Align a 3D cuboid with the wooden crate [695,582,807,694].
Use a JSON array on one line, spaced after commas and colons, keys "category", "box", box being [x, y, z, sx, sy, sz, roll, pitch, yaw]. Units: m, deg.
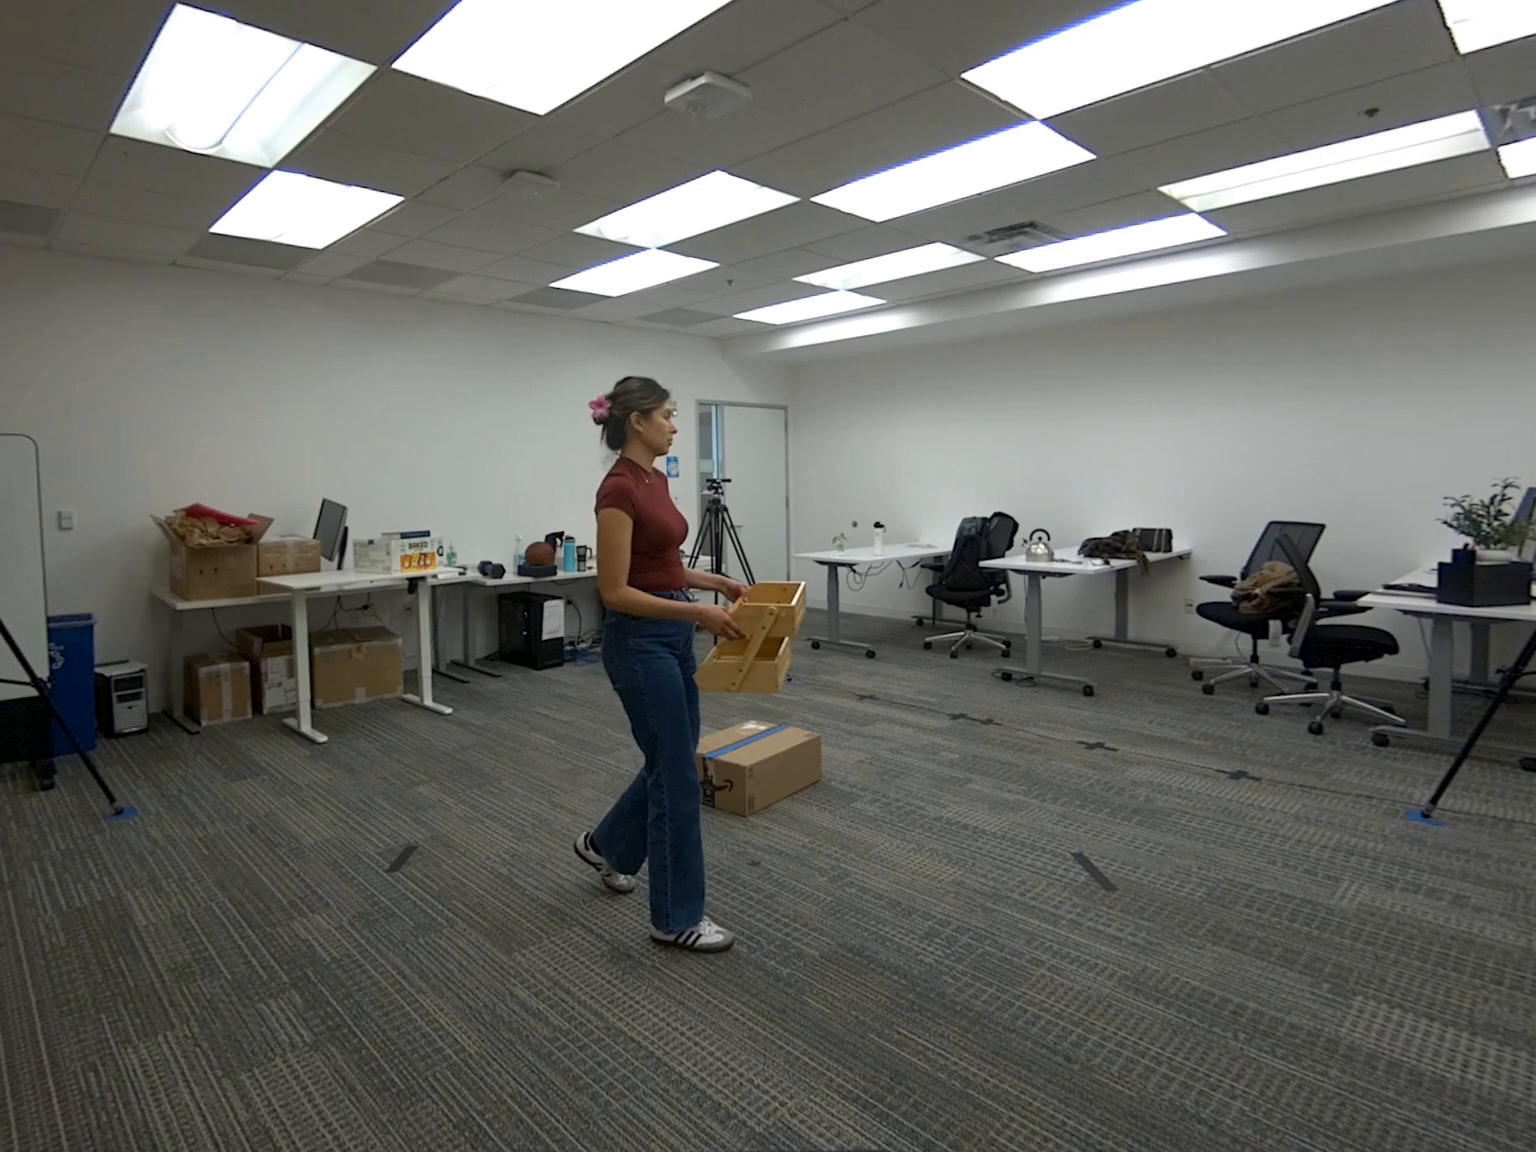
[{"category": "wooden crate", "box": [-0.062, 0.176, 2.578, 0.305, 0.271, 0.324, -1, 10, 10]}]
